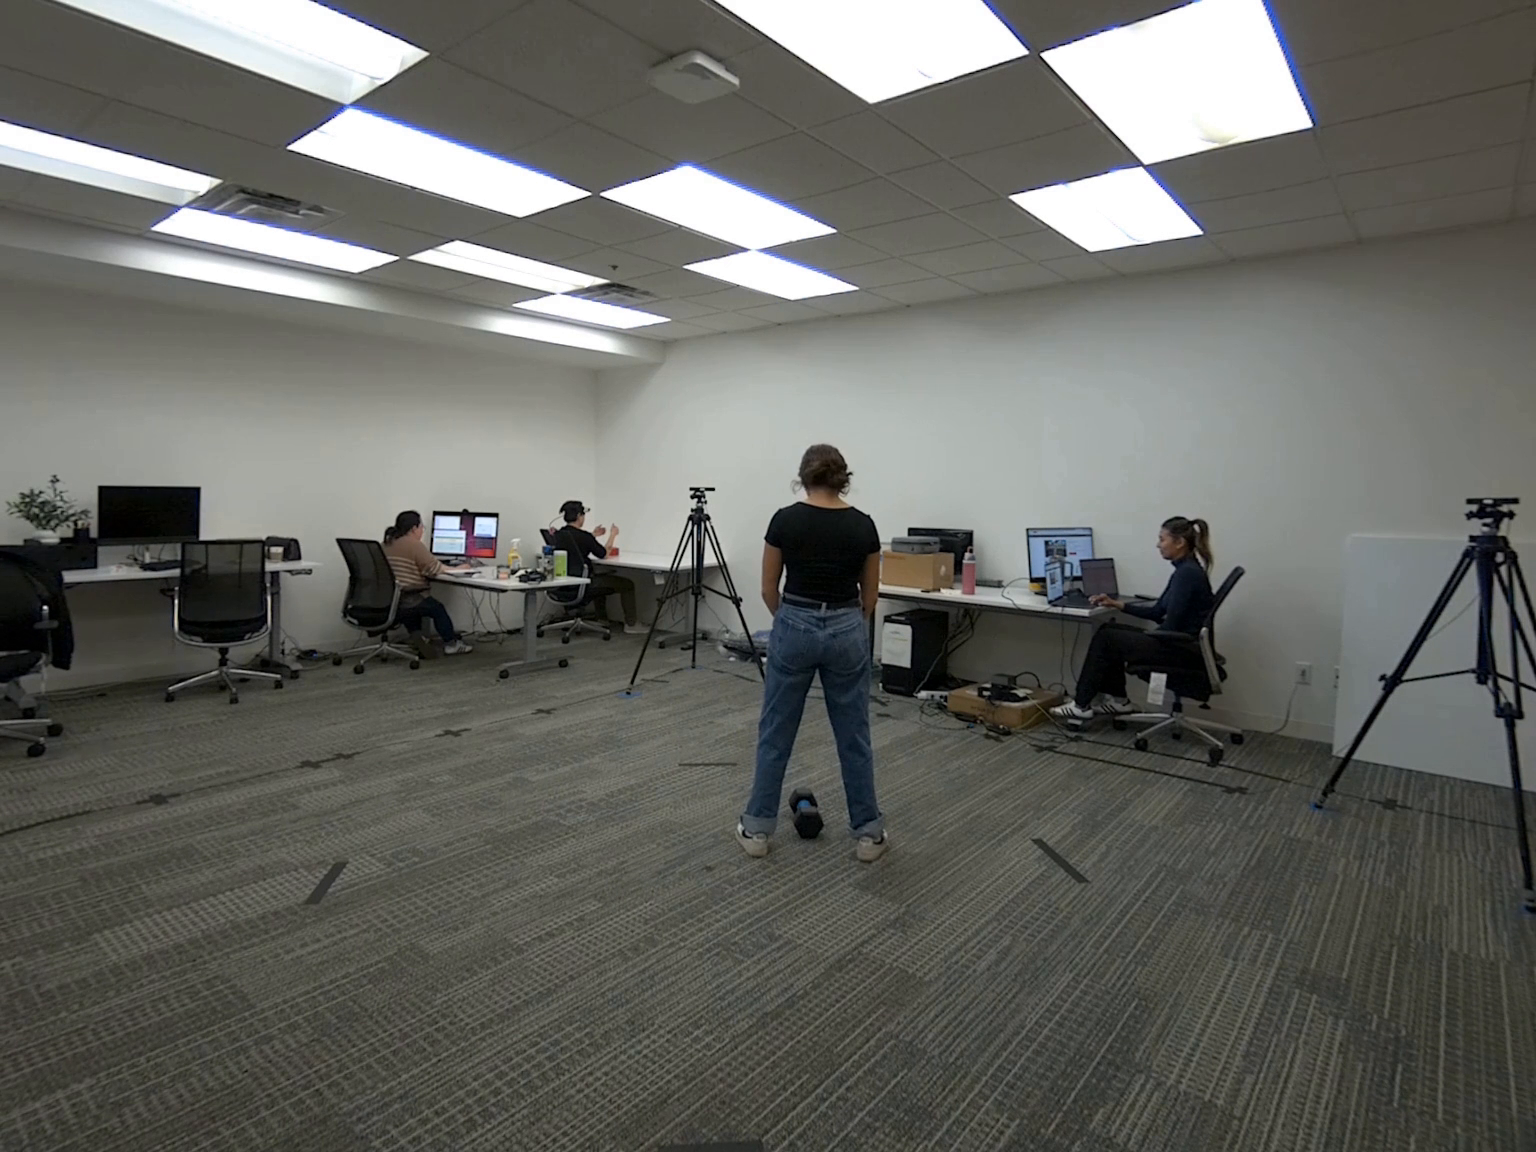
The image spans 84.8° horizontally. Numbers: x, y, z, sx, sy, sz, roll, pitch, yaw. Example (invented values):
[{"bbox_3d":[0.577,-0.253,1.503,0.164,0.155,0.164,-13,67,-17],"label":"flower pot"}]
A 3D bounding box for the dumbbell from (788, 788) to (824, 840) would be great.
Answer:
[{"bbox_3d":[0.145,0.978,3.533,0.109,0.122,0.295,-30,6,1],"label":"dumbbell"}]
